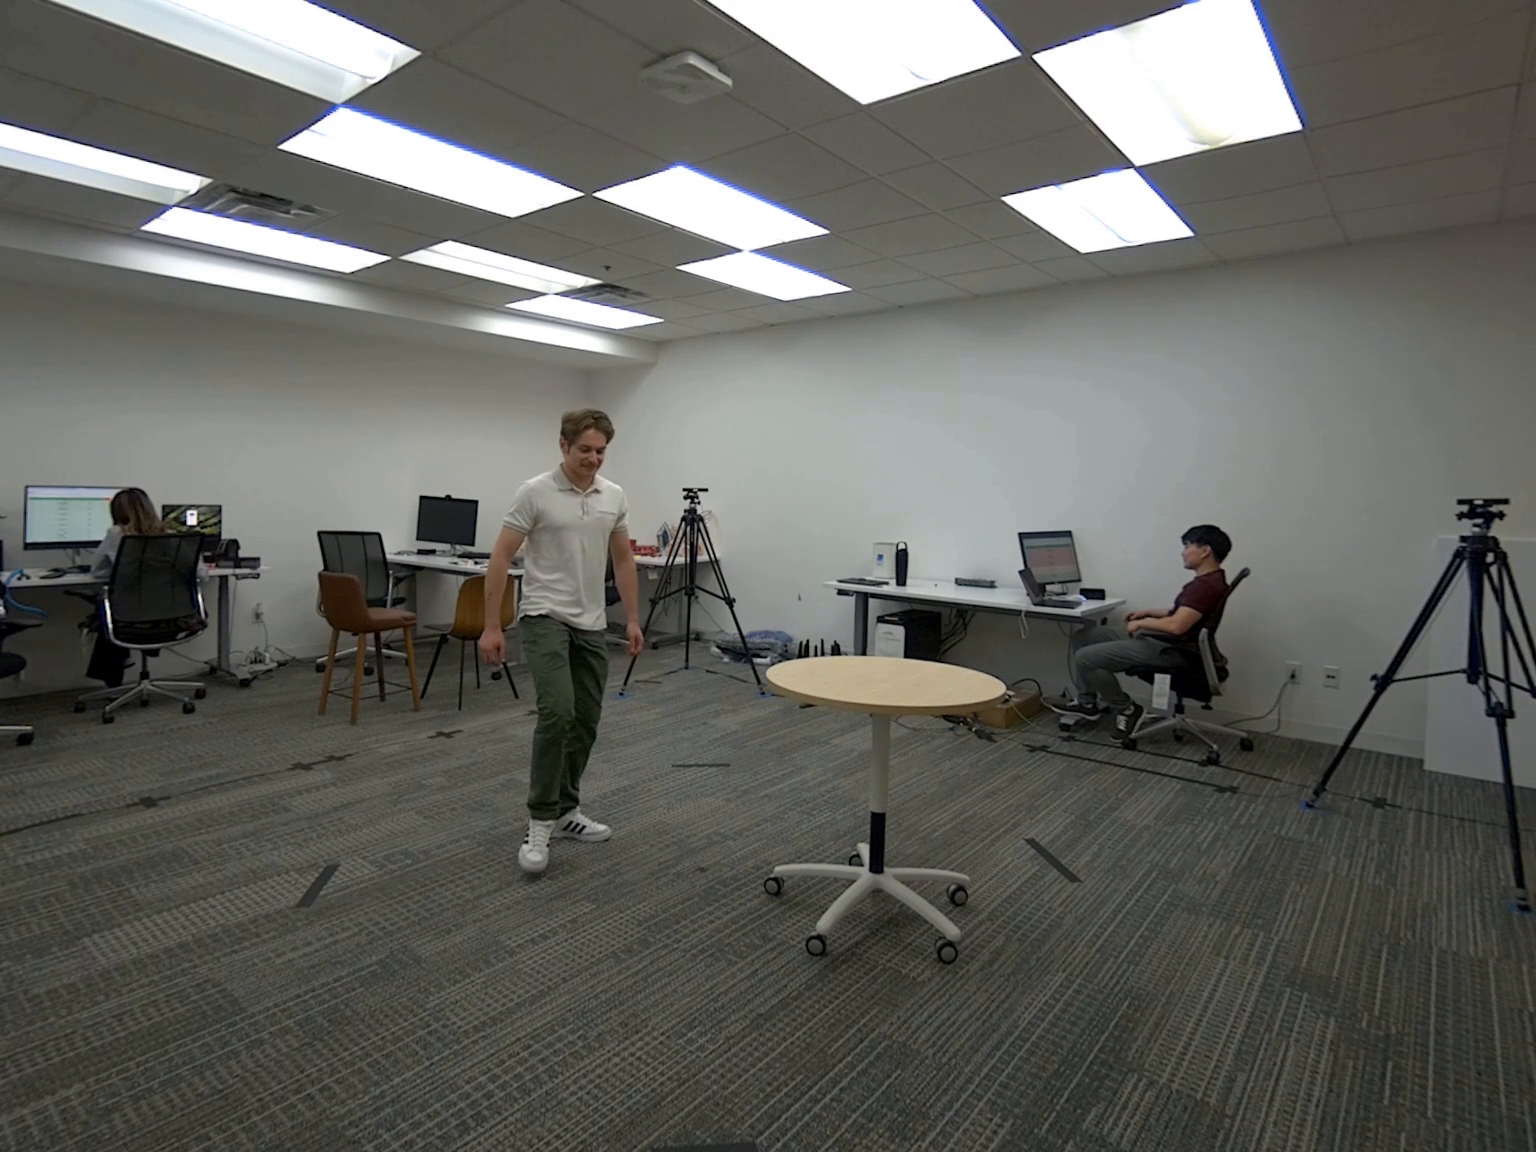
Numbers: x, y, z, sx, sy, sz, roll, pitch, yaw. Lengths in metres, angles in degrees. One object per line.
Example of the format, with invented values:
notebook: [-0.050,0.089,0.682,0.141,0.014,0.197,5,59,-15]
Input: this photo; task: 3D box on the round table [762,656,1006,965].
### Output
round table: [0.352,0.725,2.797,0.763,0.791,0.768,1,4,-2]
